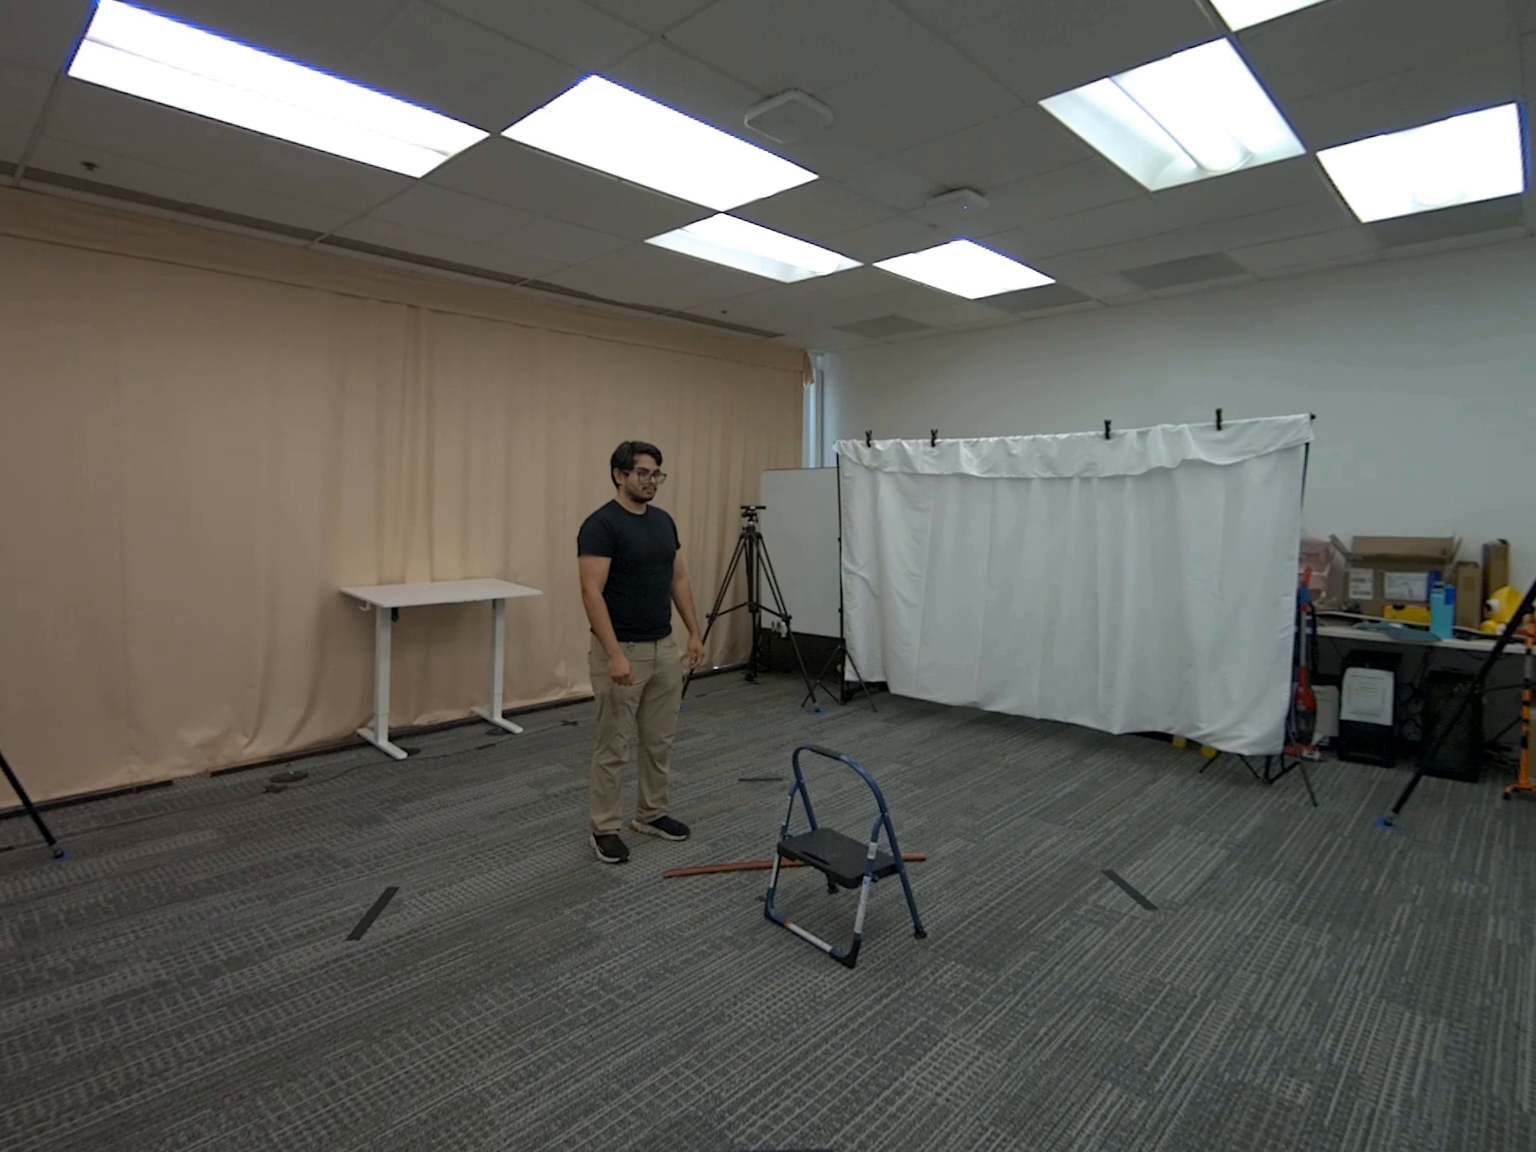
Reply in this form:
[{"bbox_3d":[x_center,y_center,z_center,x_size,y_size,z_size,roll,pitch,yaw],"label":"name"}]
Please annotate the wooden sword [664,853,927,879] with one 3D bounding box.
[{"bbox_3d":[0.107,1.097,3.239,1.016,0.052,0.024,-1,-41,-8],"label":"wooden sword"}]
